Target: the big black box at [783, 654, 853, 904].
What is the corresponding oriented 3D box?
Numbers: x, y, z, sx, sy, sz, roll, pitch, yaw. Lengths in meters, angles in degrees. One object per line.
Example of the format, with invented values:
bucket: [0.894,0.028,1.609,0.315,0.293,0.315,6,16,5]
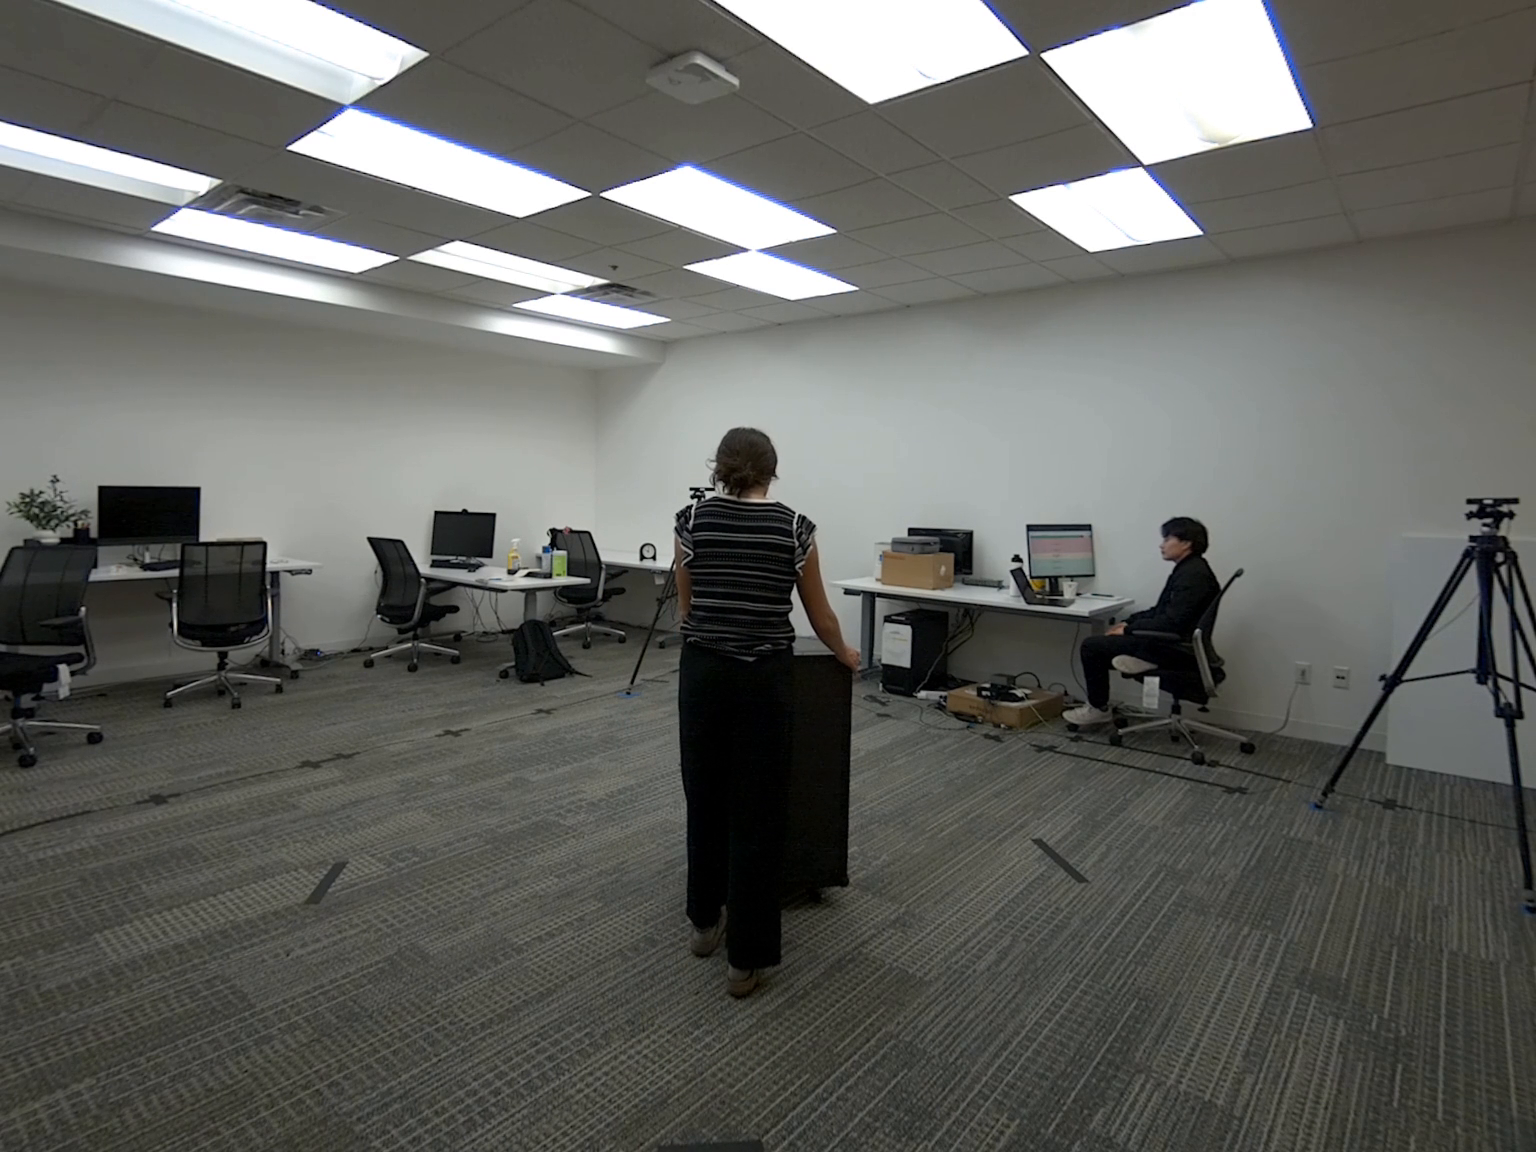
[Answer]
big black box: [-0.020,0.661,2.958,0.515,0.859,0.402,-1,3,-12]
